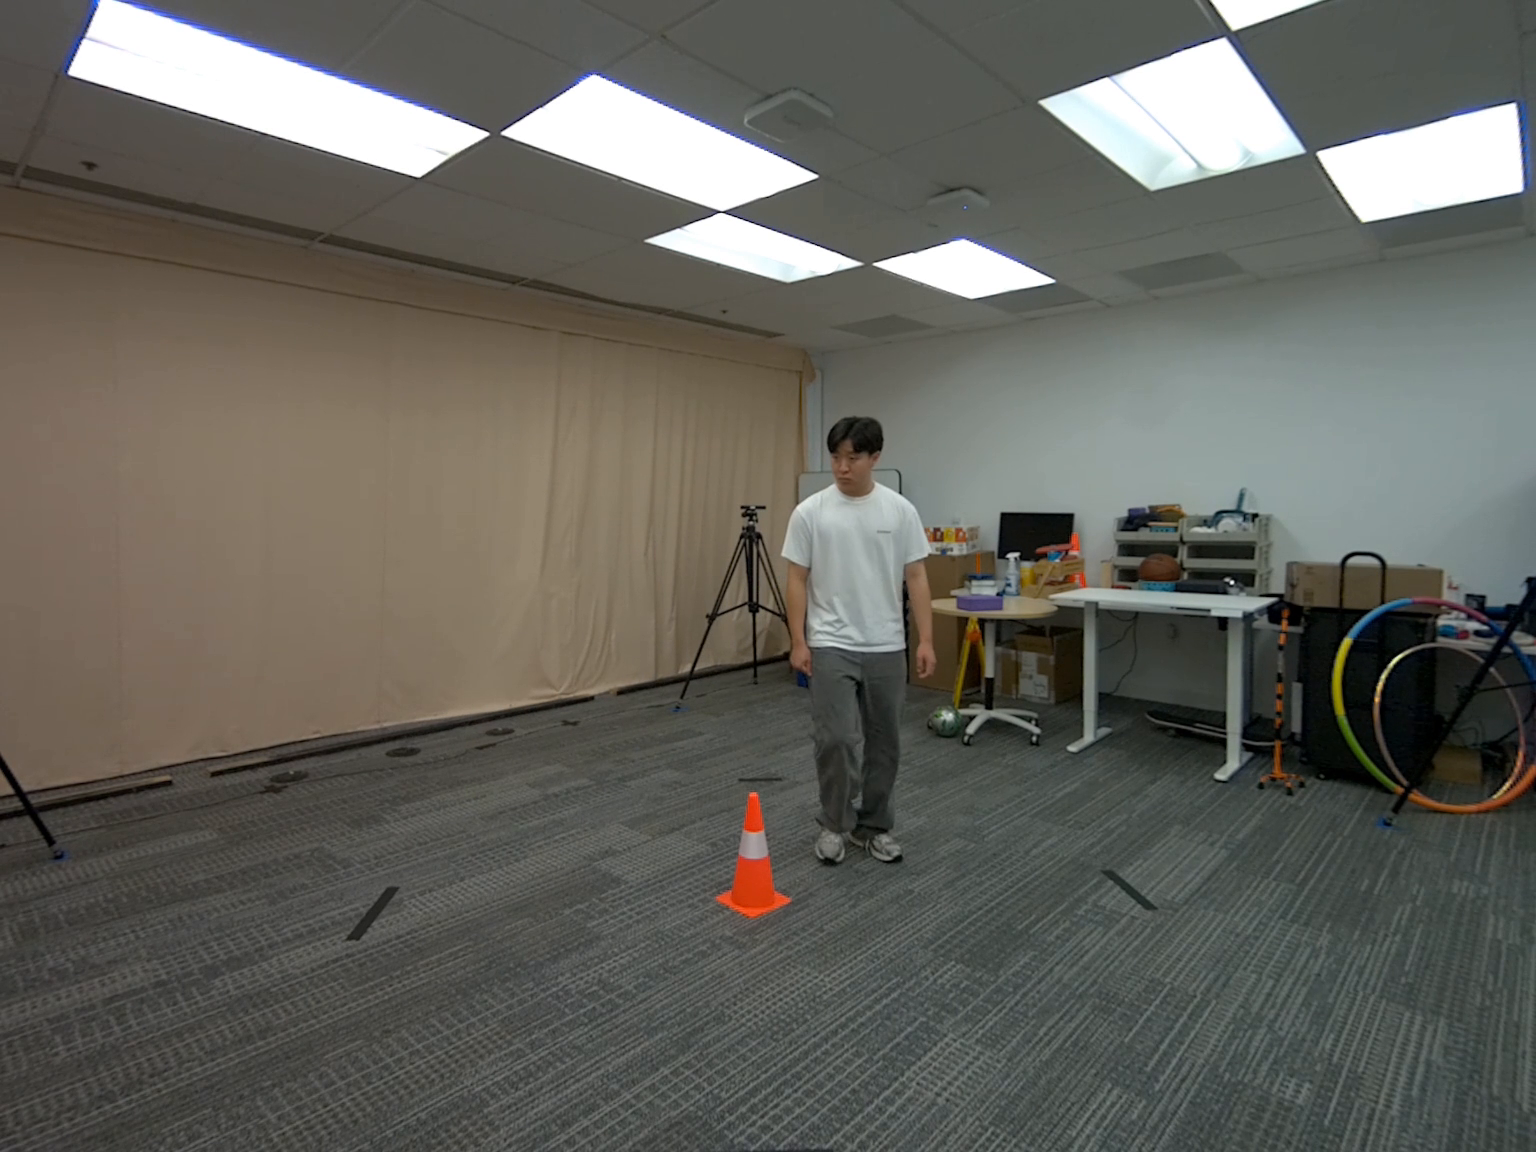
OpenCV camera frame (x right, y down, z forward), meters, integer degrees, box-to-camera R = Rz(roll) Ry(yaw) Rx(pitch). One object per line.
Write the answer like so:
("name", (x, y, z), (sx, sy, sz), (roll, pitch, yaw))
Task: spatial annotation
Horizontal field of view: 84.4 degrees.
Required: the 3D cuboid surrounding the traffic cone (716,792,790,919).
("traffic cone", (-0.039, 0.961, 2.965), (0.210, 0.383, 0.198), (6, 6, 45))
